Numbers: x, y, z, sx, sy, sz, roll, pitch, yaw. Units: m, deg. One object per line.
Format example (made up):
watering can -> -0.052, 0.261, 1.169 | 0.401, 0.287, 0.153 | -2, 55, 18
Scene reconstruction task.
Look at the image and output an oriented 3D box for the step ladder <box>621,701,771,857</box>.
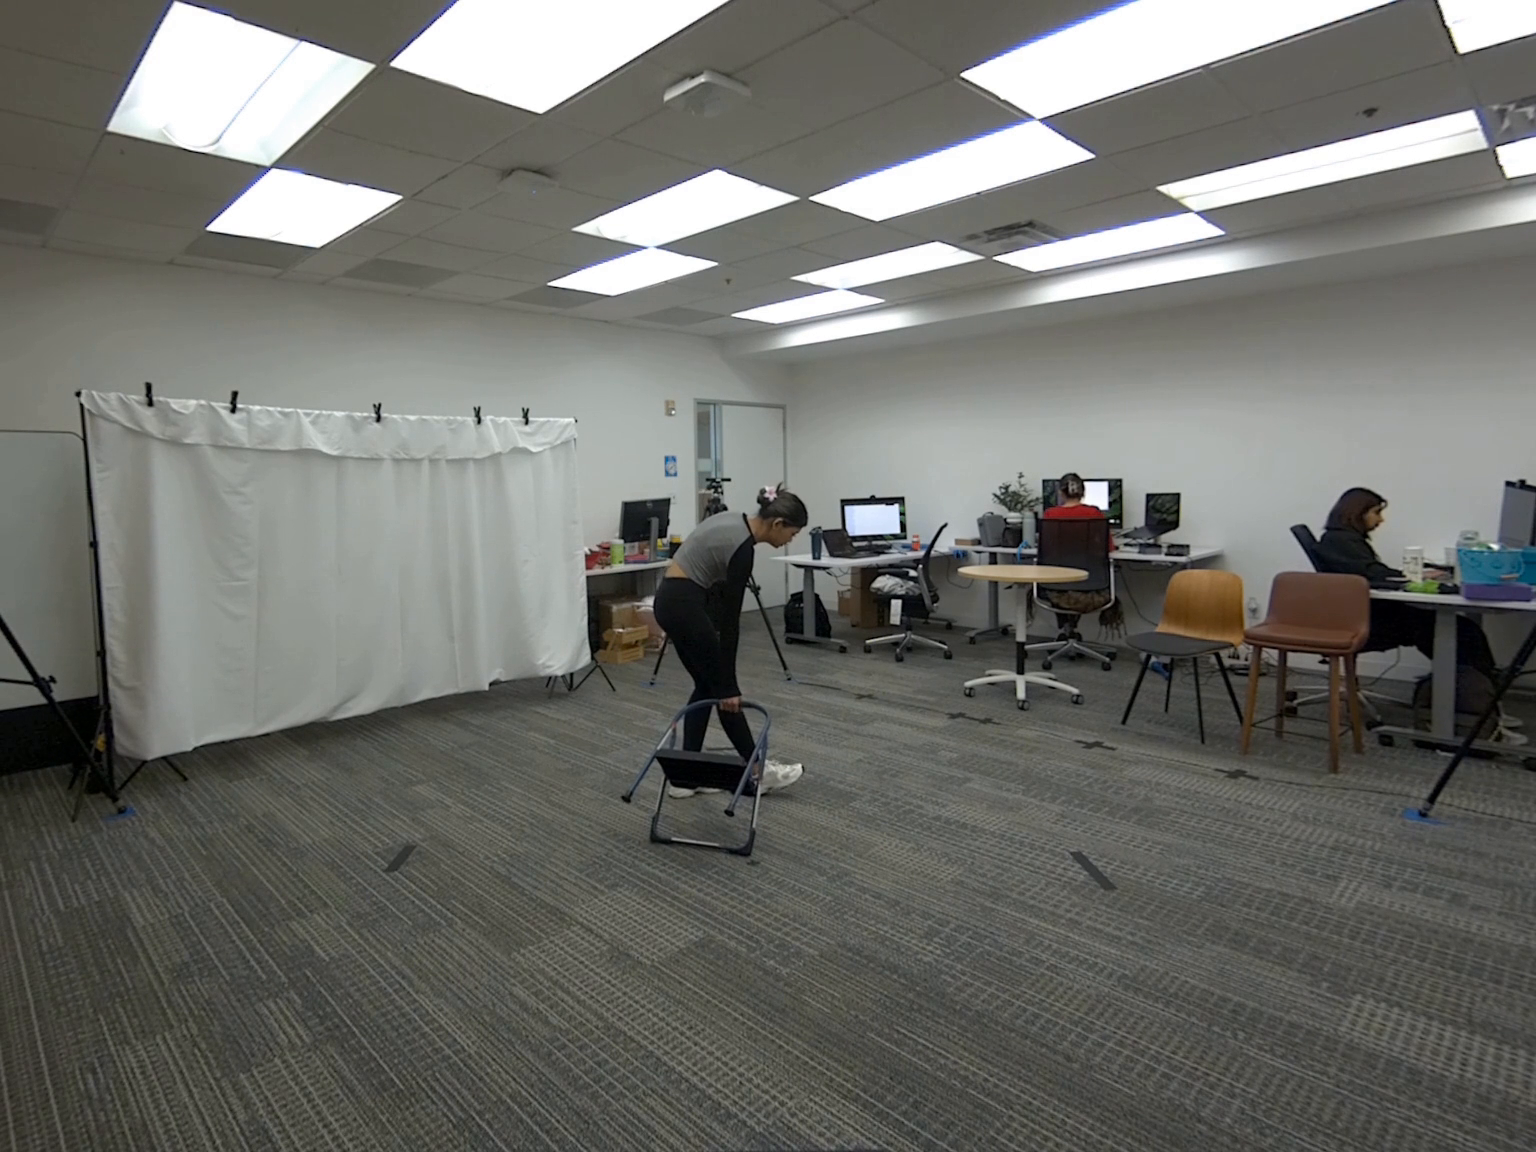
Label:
step ladder -> -0.231, 0.705, 3.317 | 0.438, 0.337, 0.616 | 0, 45, 18
